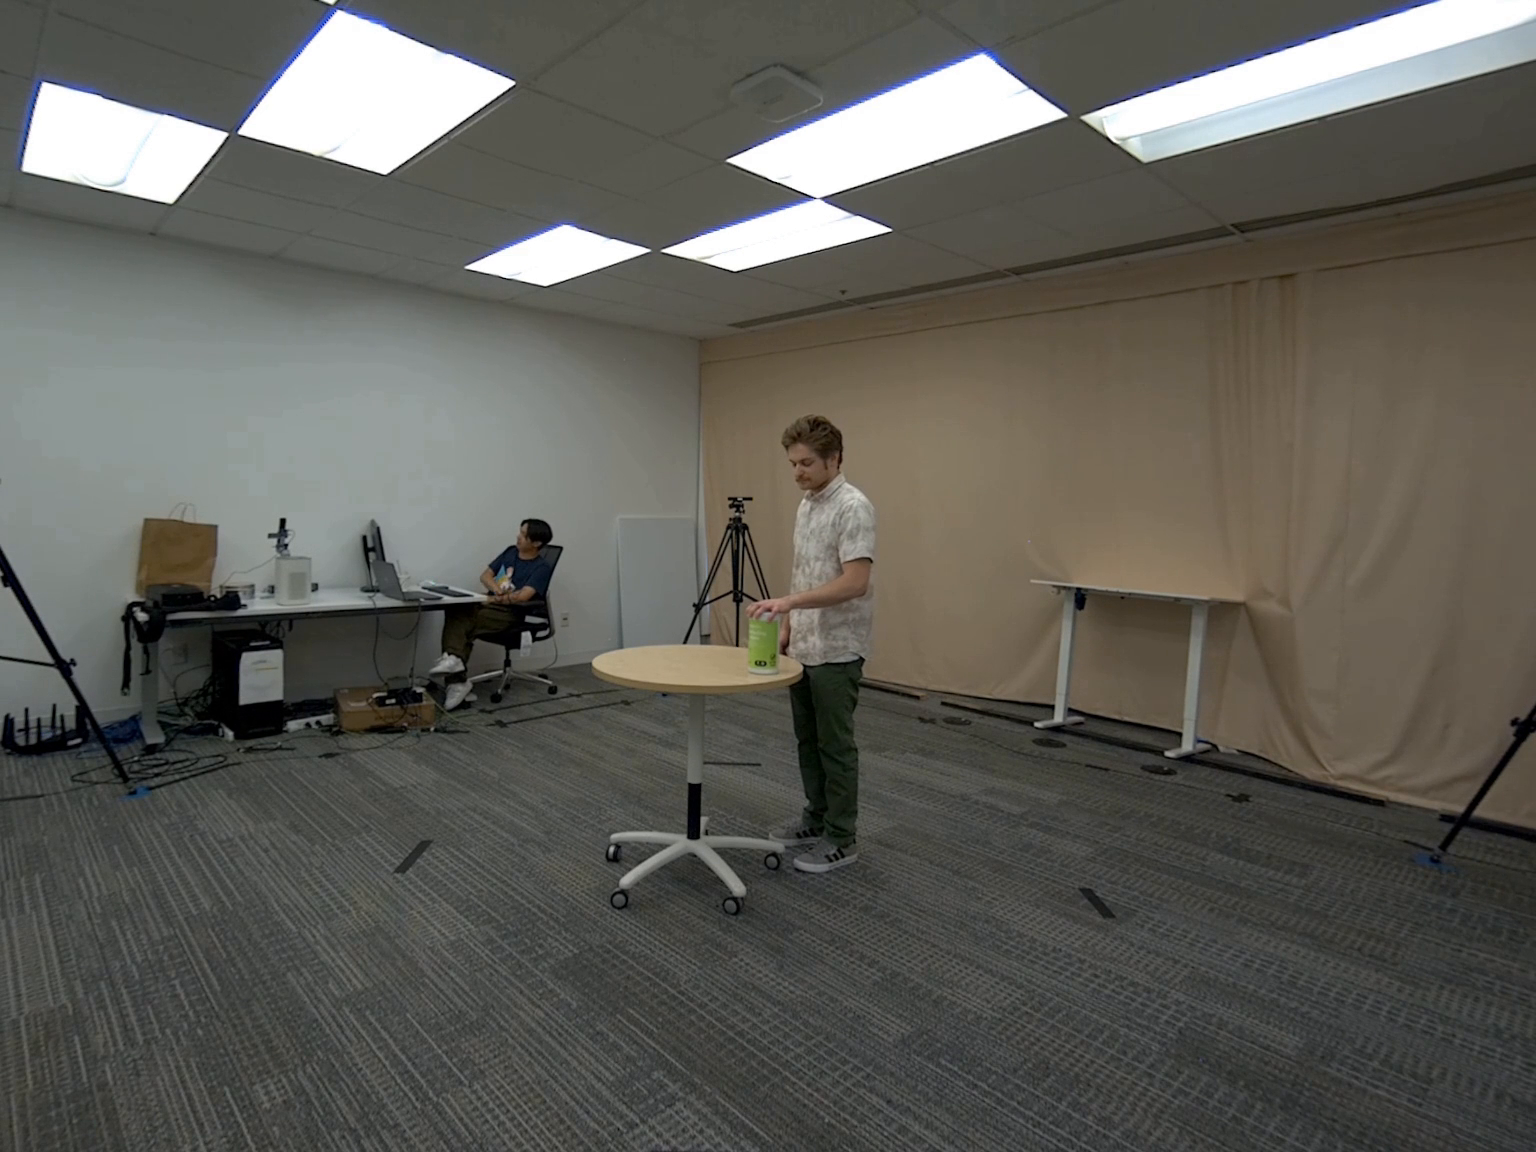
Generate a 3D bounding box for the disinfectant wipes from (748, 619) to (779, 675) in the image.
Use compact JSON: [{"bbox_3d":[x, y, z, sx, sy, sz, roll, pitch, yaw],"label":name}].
[{"bbox_3d":[-0.019,0.230,2.936,0.118,0.217,0.118,2,5,-2],"label":"disinfectant wipes"}]
